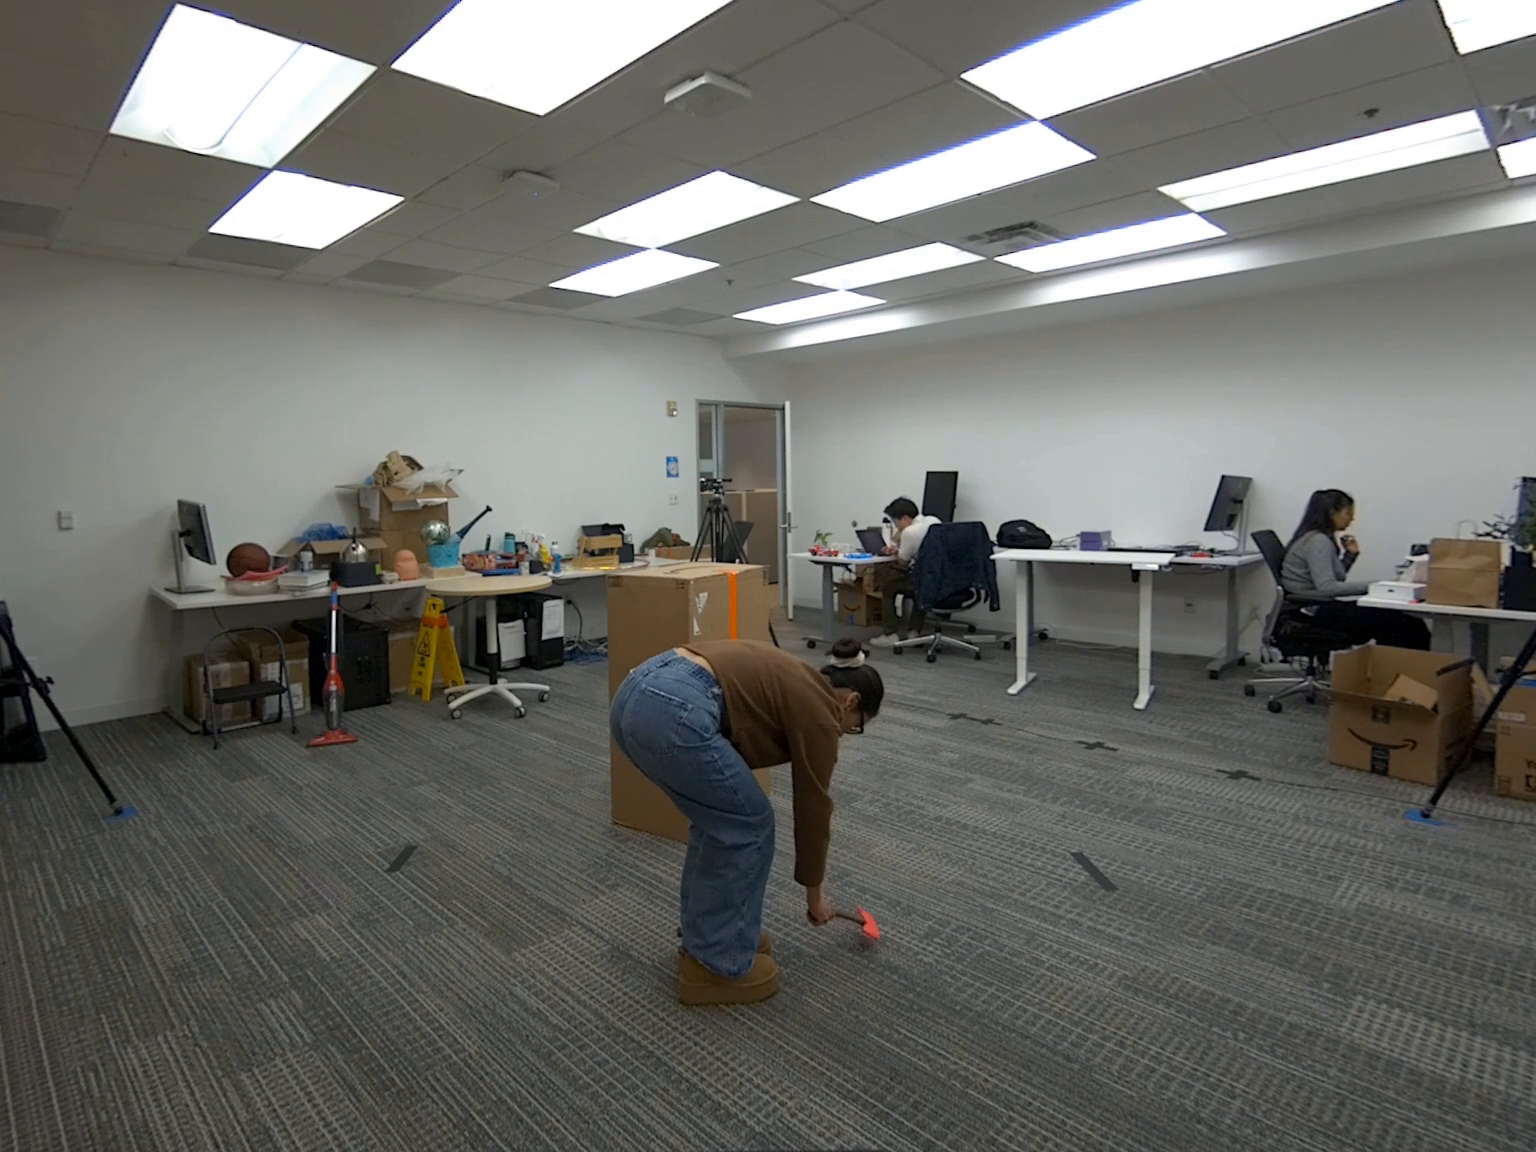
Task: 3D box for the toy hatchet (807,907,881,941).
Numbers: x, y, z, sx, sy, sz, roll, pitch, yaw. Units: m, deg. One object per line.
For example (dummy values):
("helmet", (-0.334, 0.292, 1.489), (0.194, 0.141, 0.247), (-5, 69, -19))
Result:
("toy hatchet", (0.243, 1.021, 2.516), (0.260, 0.029, 0.136), (17, 14, -44))
